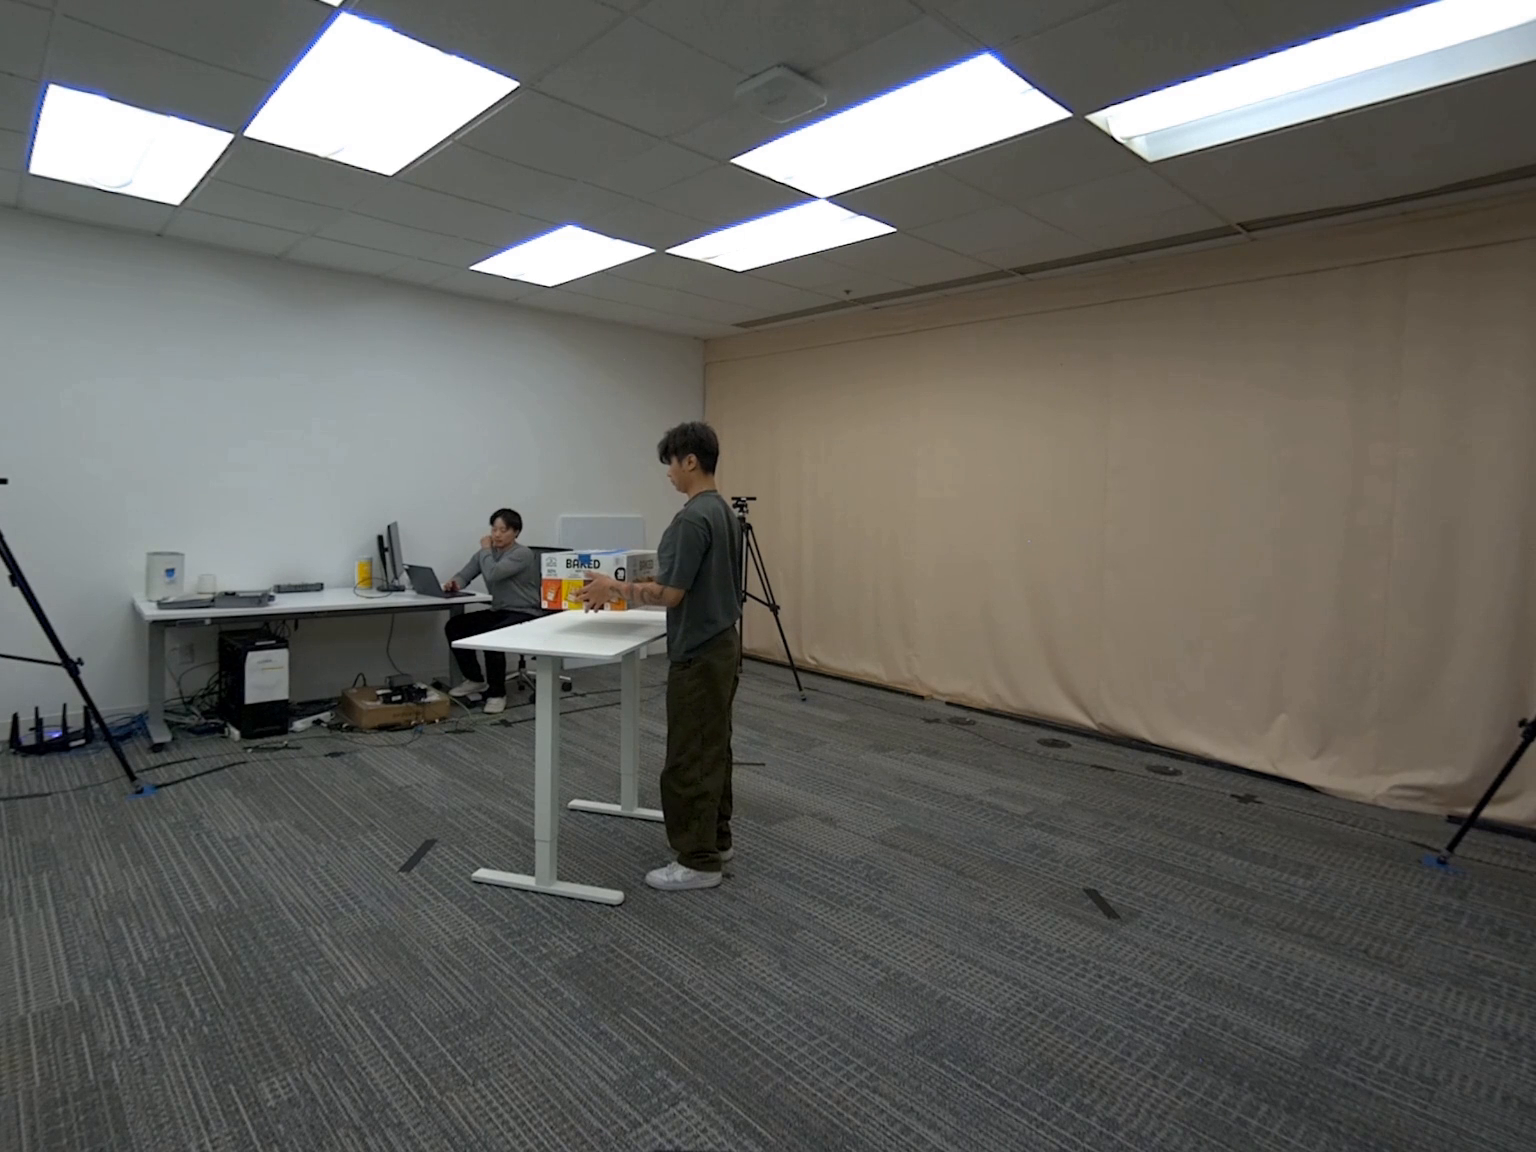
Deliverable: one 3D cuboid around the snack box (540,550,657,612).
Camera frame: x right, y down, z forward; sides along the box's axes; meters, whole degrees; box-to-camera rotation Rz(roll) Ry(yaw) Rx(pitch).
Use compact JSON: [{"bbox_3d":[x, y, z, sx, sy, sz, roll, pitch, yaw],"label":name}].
[{"bbox_3d":[-0.625,0.012,3.247,0.344,0.205,0.401,2,3,15],"label":"snack box"}]
